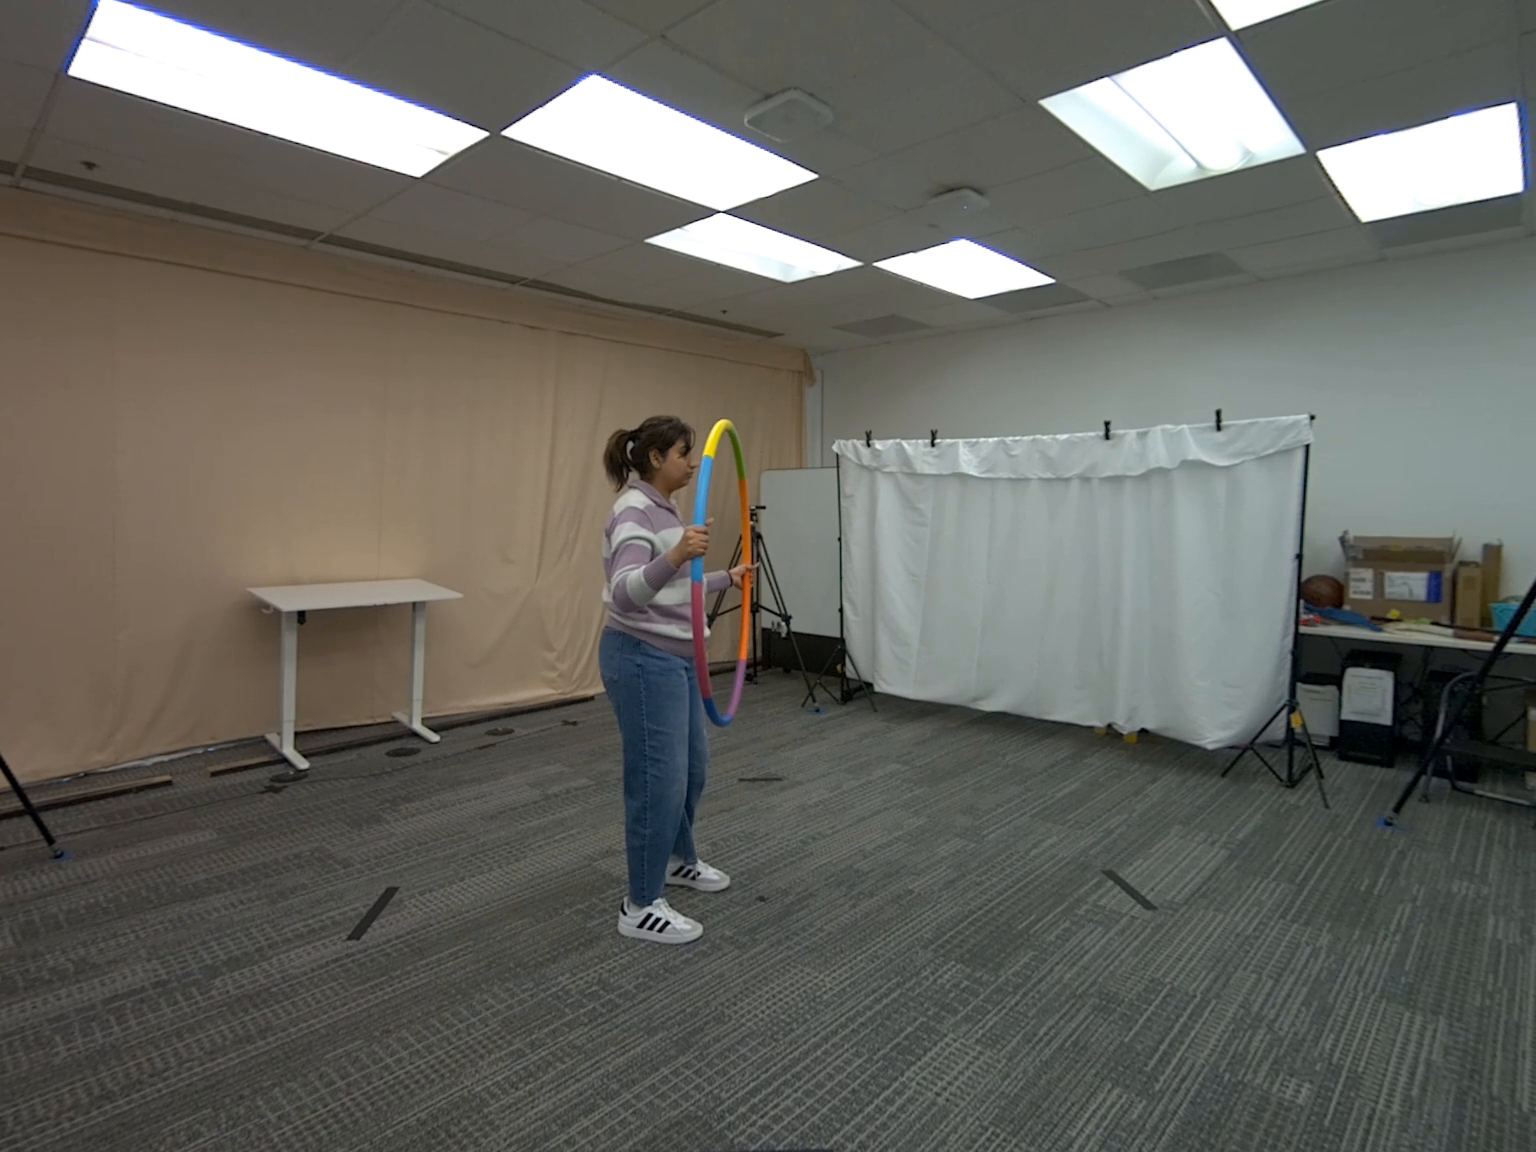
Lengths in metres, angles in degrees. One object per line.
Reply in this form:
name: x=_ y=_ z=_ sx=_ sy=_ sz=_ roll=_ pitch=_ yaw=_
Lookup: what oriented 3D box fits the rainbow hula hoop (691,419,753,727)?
rainbow hula hoop: x=-0.135 y=-0.008 z=2.757 sx=0.036 sy=0.976 sz=0.971 roll=0 pitch=4 yaw=7
